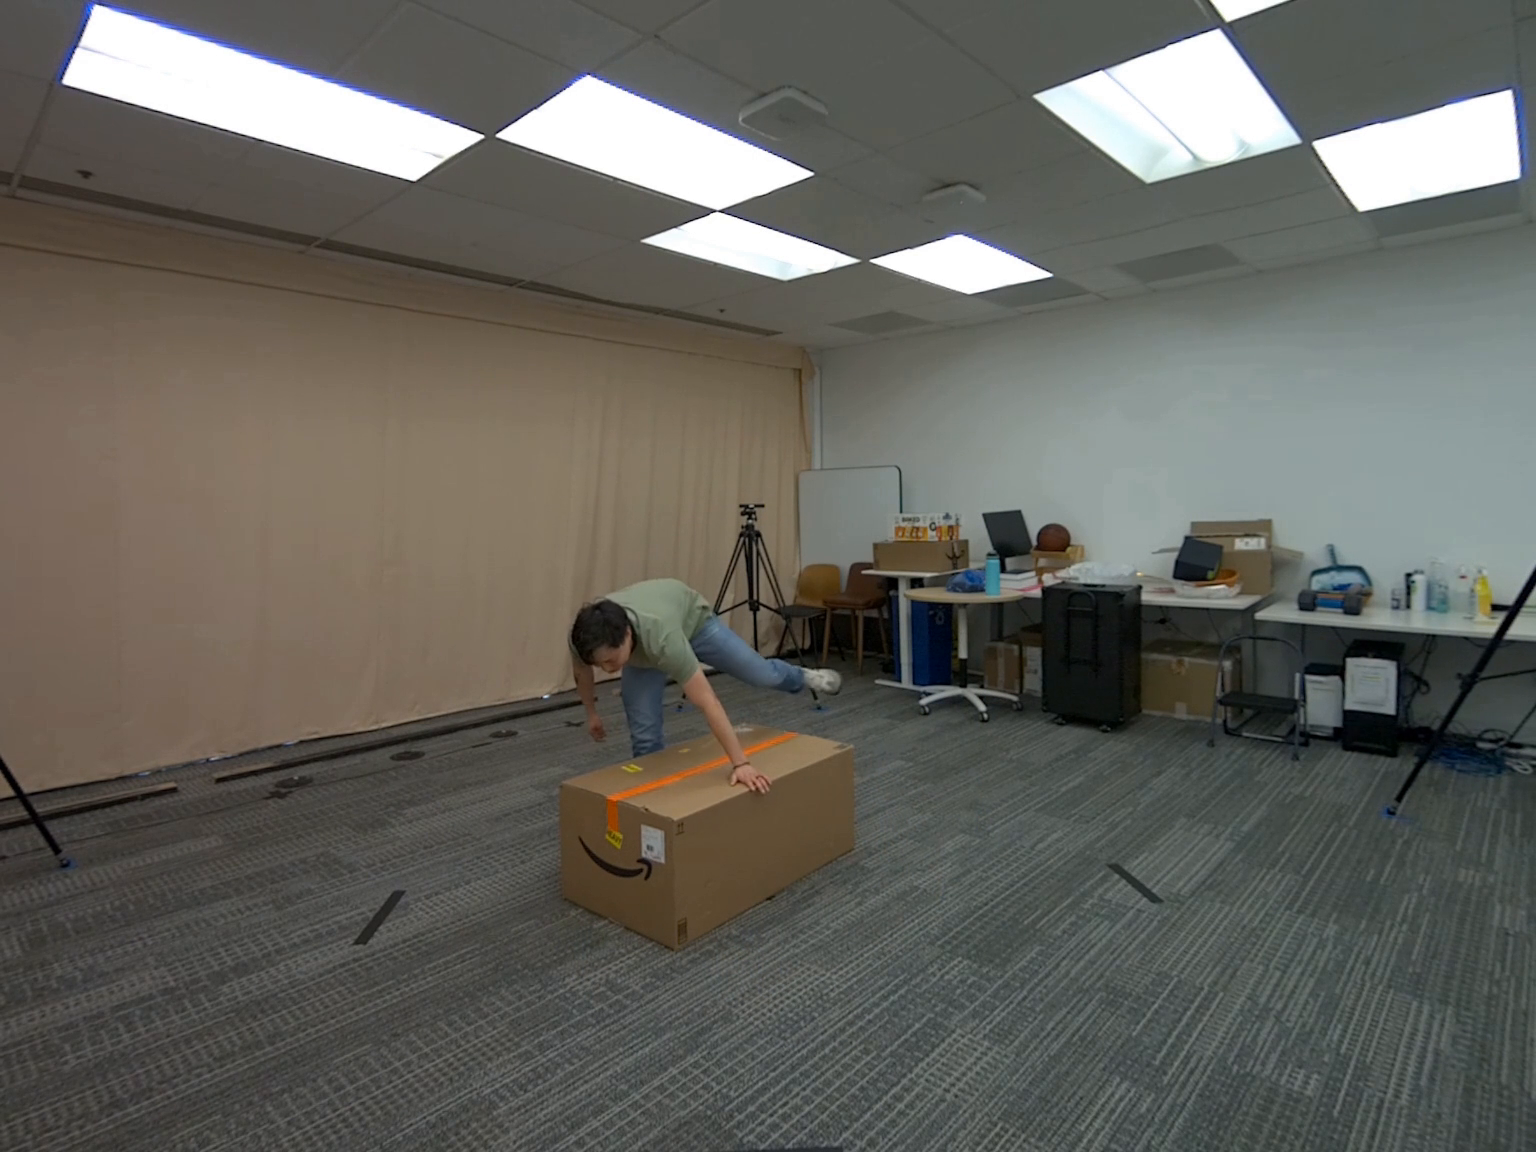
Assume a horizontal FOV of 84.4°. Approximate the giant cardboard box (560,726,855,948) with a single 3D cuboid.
[{"bbox_3d":[-0.192,0.914,3.183,0.596,0.425,0.995,2,6,40],"label":"giant cardboard box"}]
